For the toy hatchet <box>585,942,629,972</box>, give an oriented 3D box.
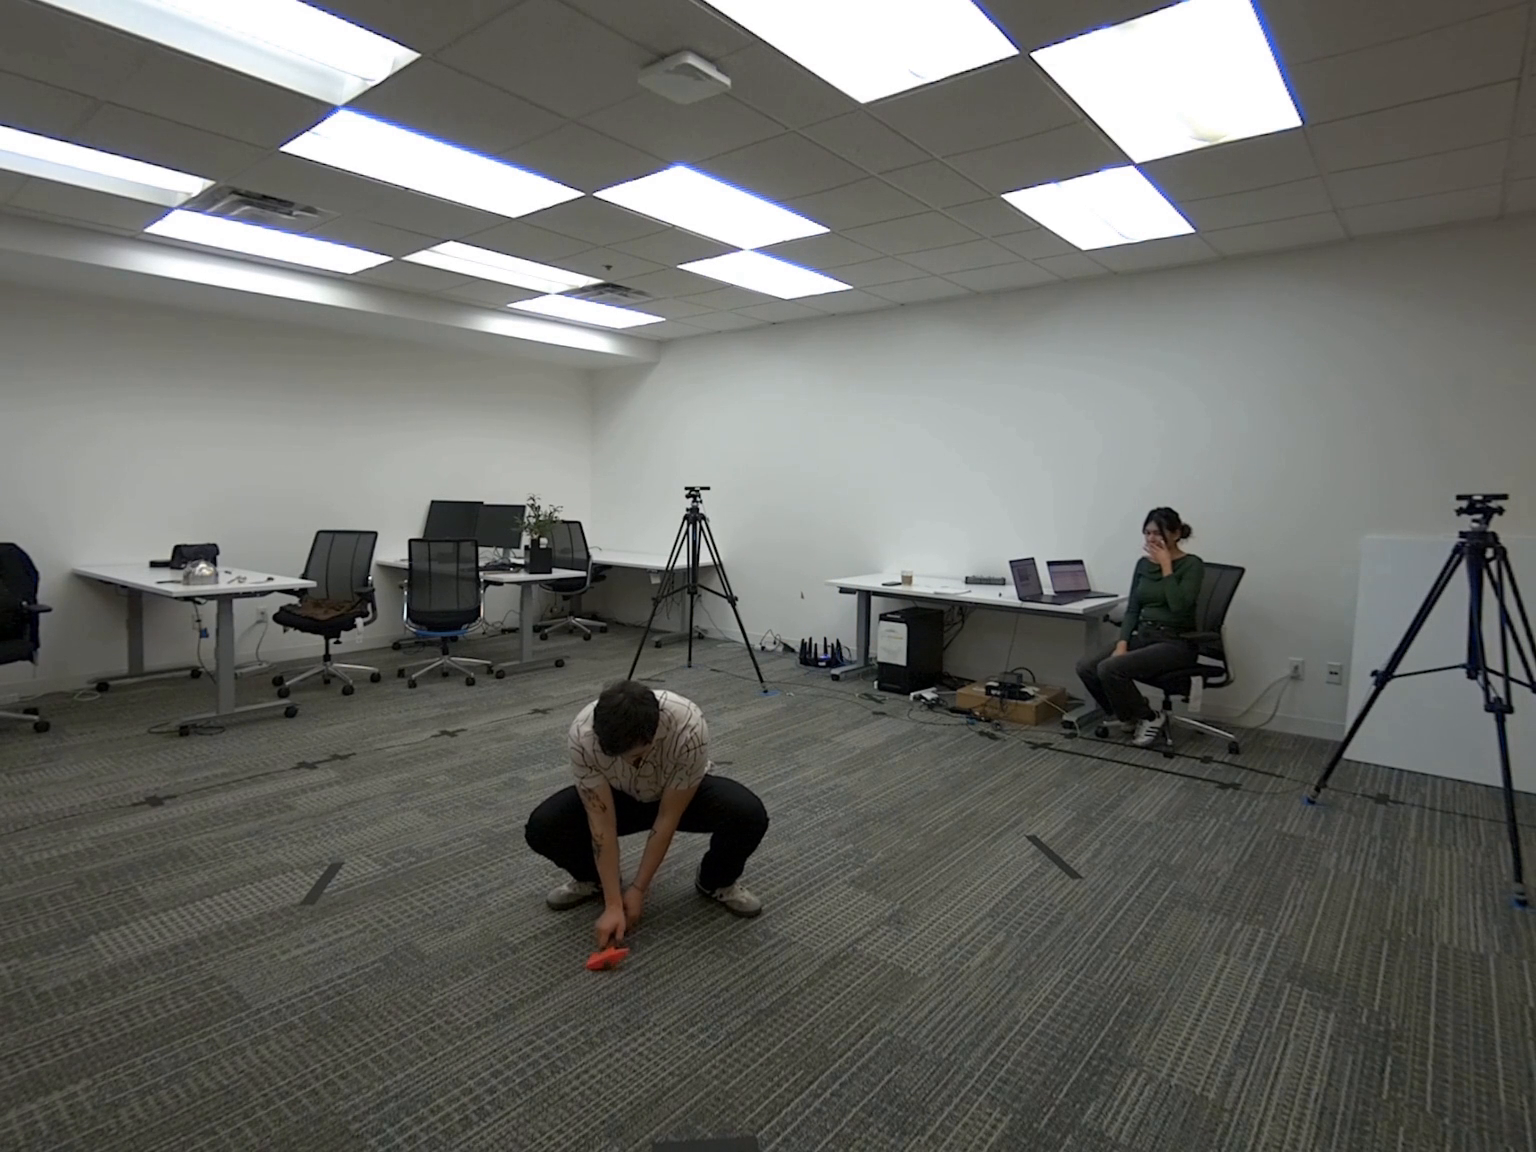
[{"bbox_3d":[-0.512,1.101,2.548,0.129,0.029,0.275,-23,8,-20],"label":"toy hatchet"}]
